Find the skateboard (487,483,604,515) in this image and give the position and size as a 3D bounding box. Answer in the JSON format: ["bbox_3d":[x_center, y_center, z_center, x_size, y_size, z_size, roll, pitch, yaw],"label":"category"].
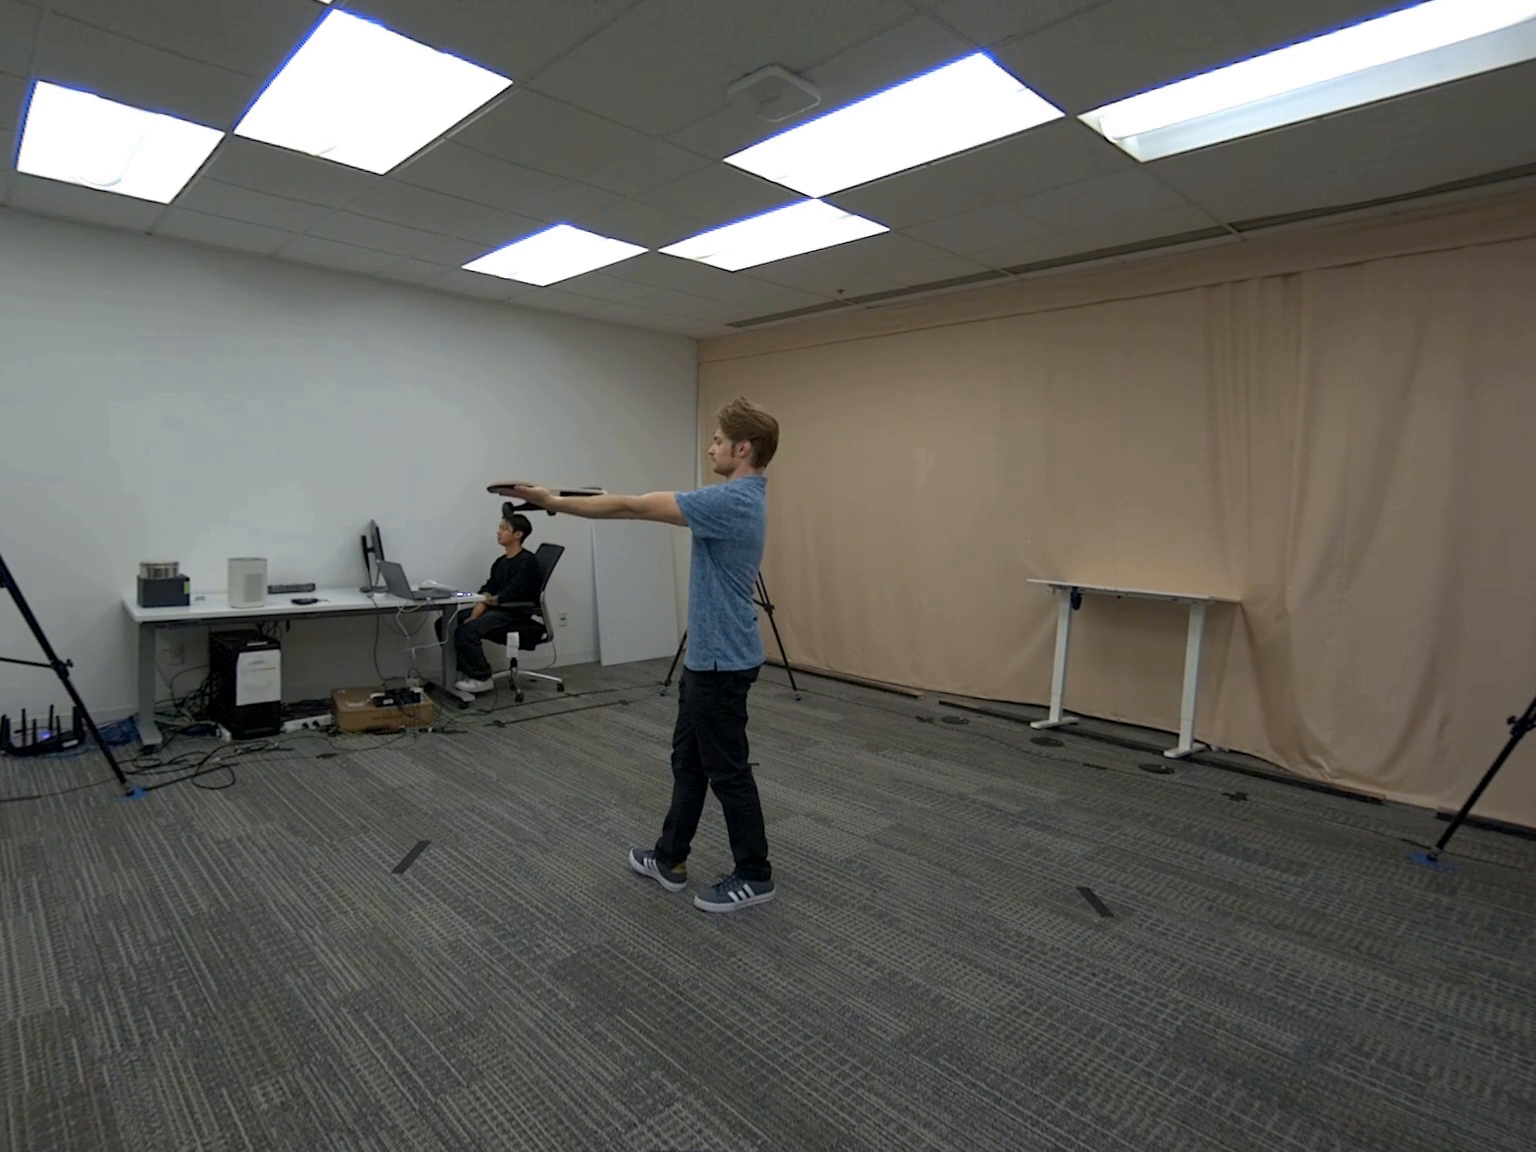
[{"bbox_3d":[-0.749,-0.262,2.970,0.194,0.110,0.784,3,4,3],"label":"skateboard"}]
